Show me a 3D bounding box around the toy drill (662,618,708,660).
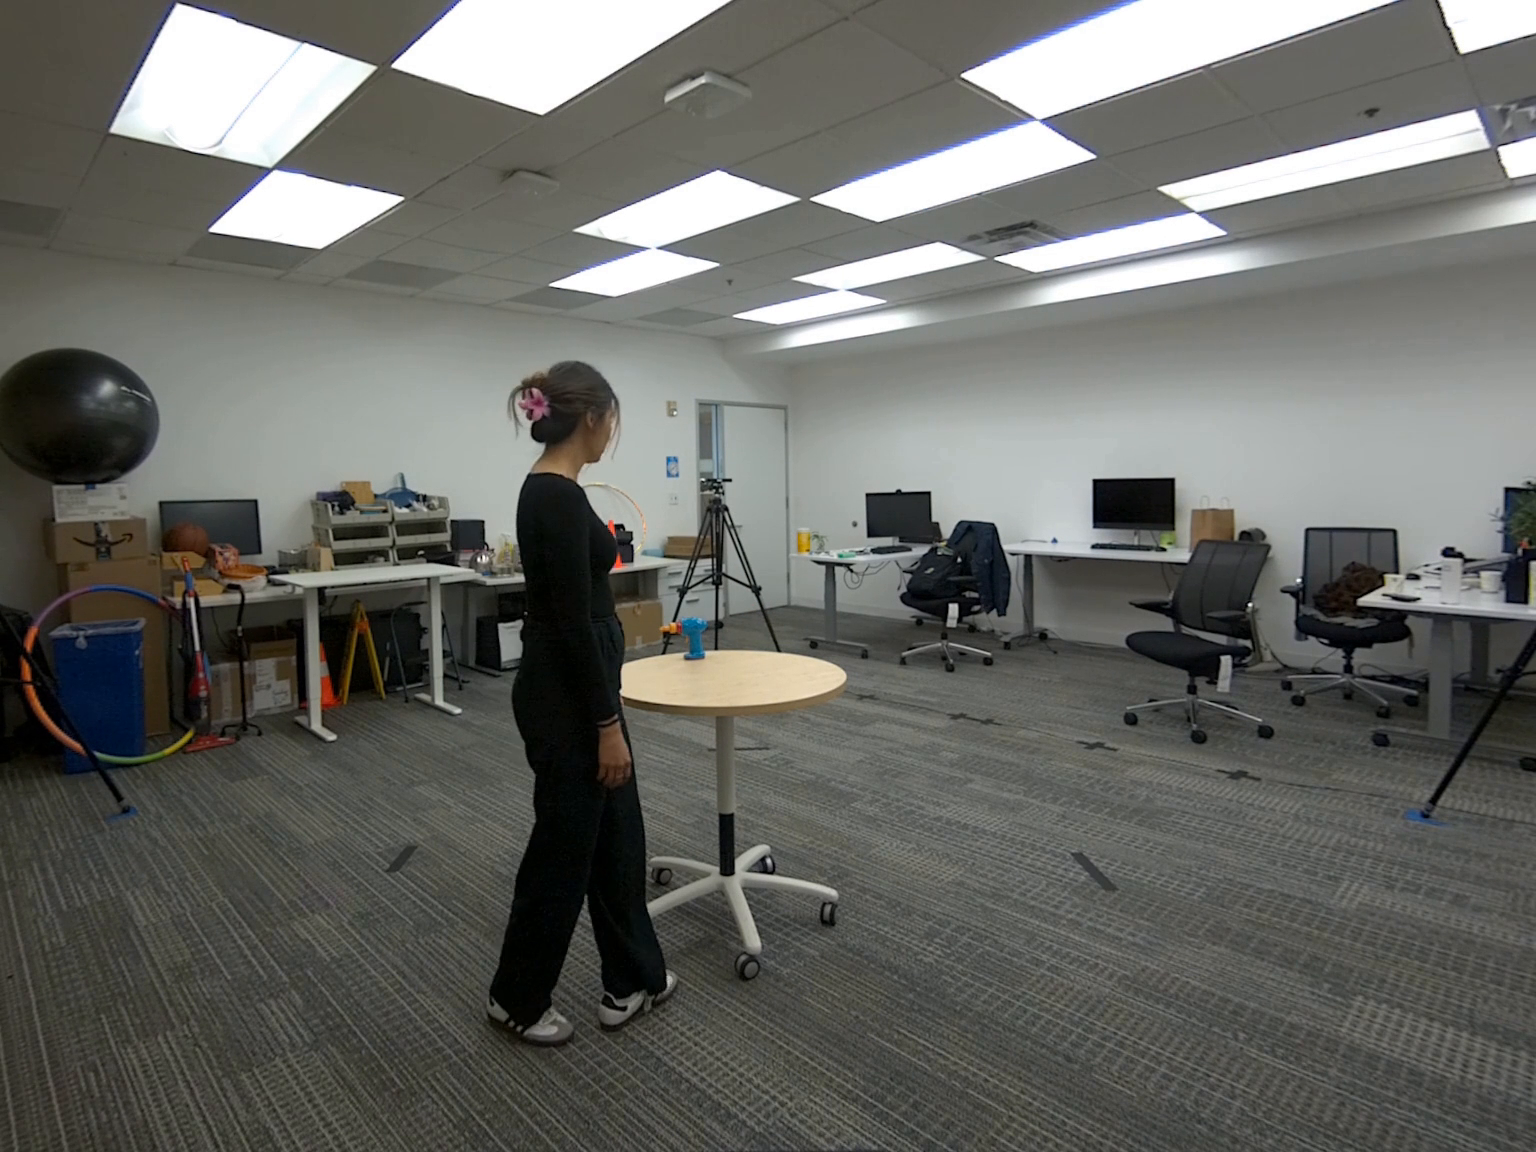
[{"bbox_3d":[-0.286,0.214,2.922,0.166,0.145,0.062,-2,4,-23],"label":"toy drill"}]
